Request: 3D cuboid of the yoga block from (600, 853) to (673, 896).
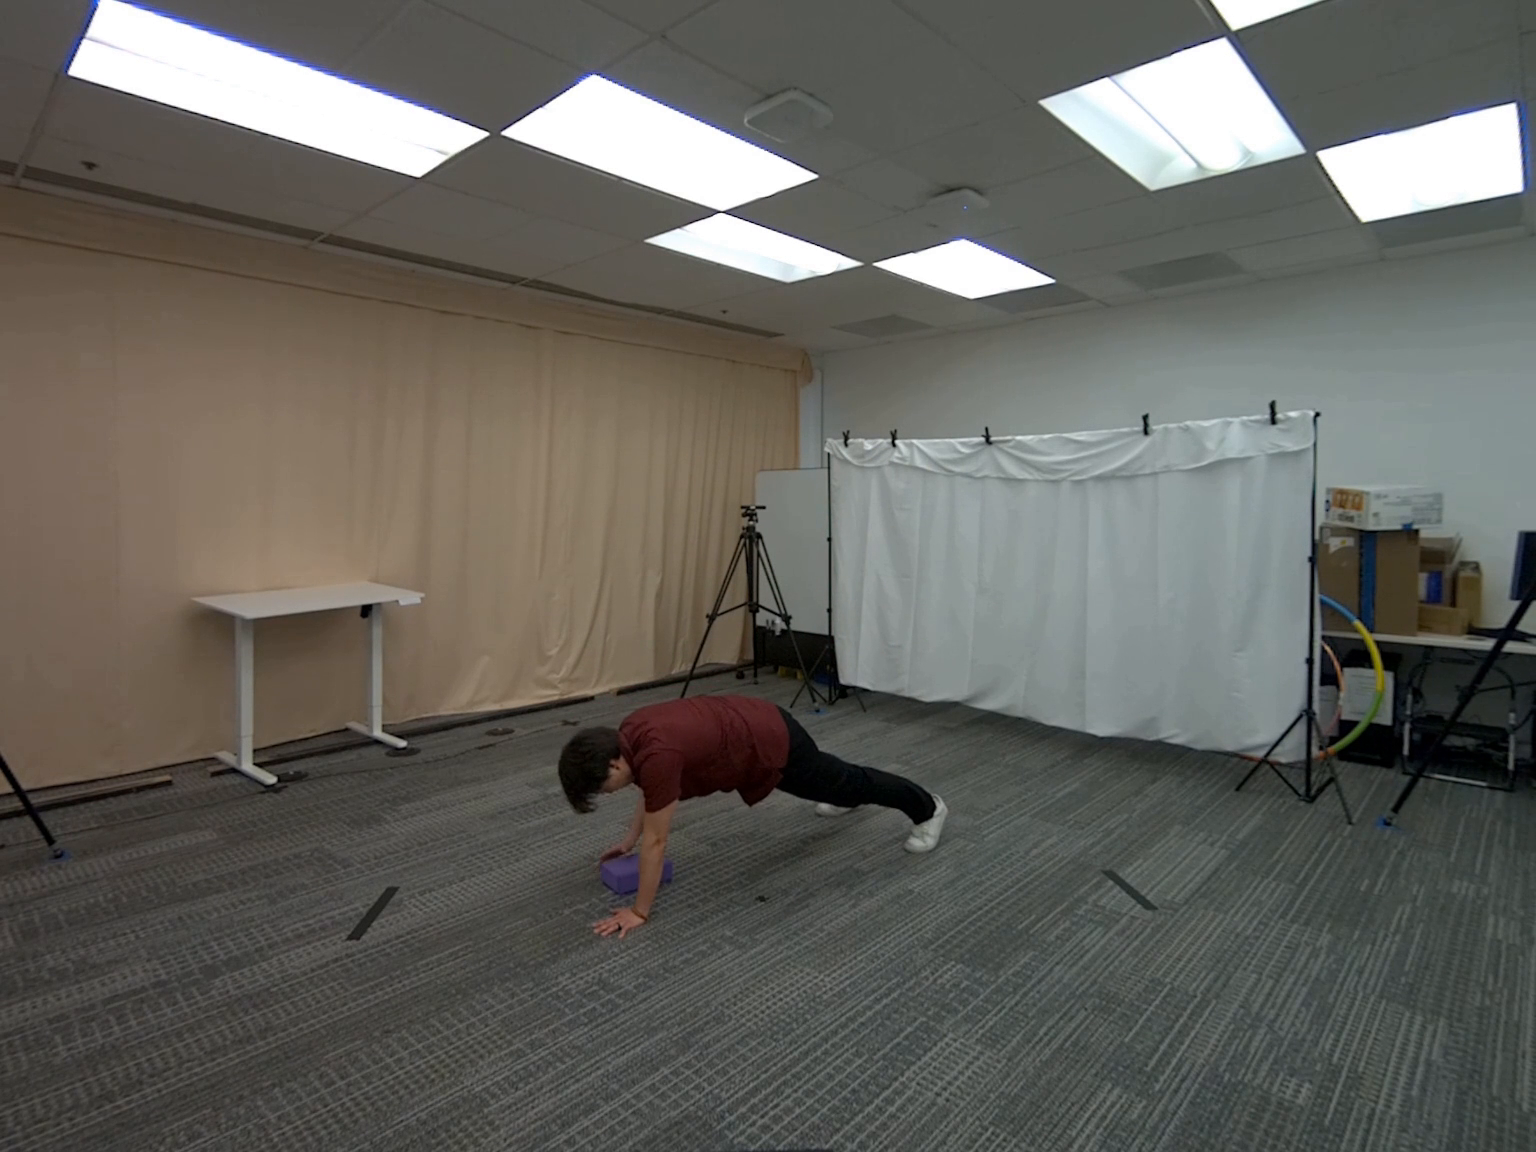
[{"bbox_3d":[-0.486,1.090,3.128,0.223,0.076,0.154,-5,6,-34],"label":"yoga block"}]
